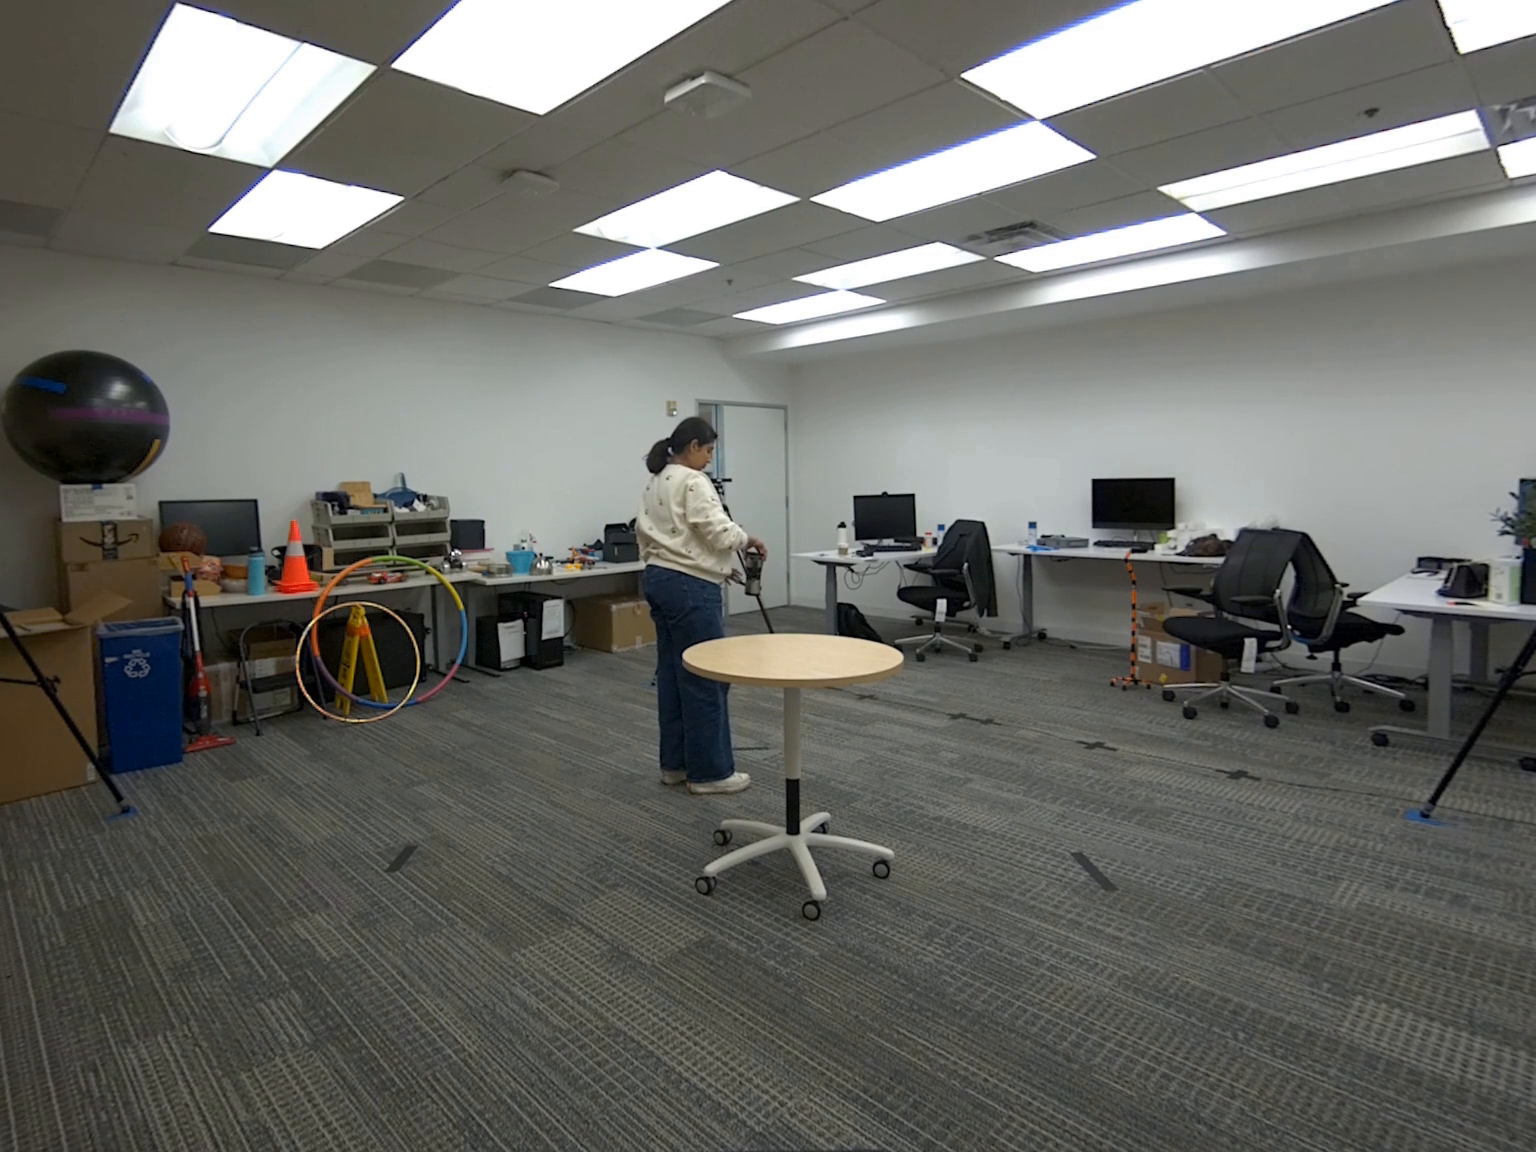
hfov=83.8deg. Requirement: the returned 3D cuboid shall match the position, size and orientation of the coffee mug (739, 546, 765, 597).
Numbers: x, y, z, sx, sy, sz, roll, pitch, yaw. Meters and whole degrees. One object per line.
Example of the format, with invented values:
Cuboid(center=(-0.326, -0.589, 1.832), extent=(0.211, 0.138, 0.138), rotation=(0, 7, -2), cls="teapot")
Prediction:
Cuboid(center=(-0.092, -0.009, 3.973), extent=(0.118, 0.202, 0.091), rotation=(1, 8, -38), cls="coffee mug")
